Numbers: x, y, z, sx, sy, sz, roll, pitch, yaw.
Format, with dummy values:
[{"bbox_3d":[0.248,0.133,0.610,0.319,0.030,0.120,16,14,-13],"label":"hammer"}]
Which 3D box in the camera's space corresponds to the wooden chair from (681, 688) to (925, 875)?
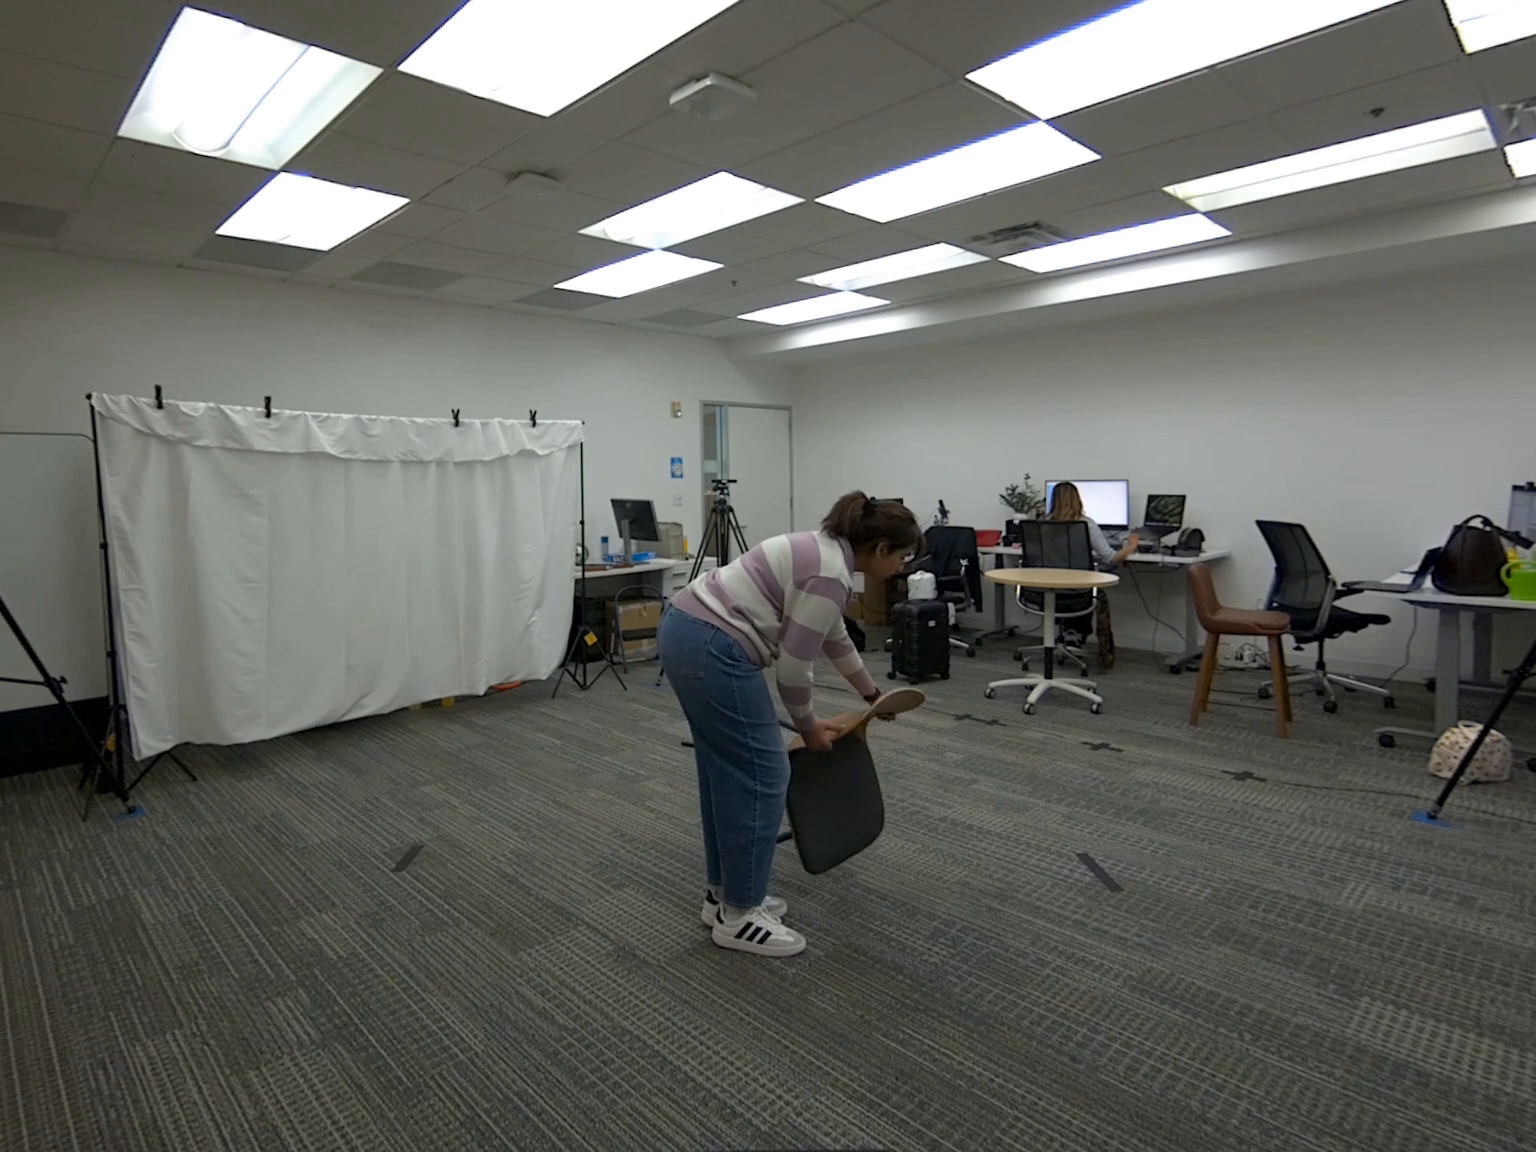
[{"bbox_3d":[0.197,0.721,2.952,0.466,0.528,0.891,-9,-10,-46],"label":"wooden chair"}]
